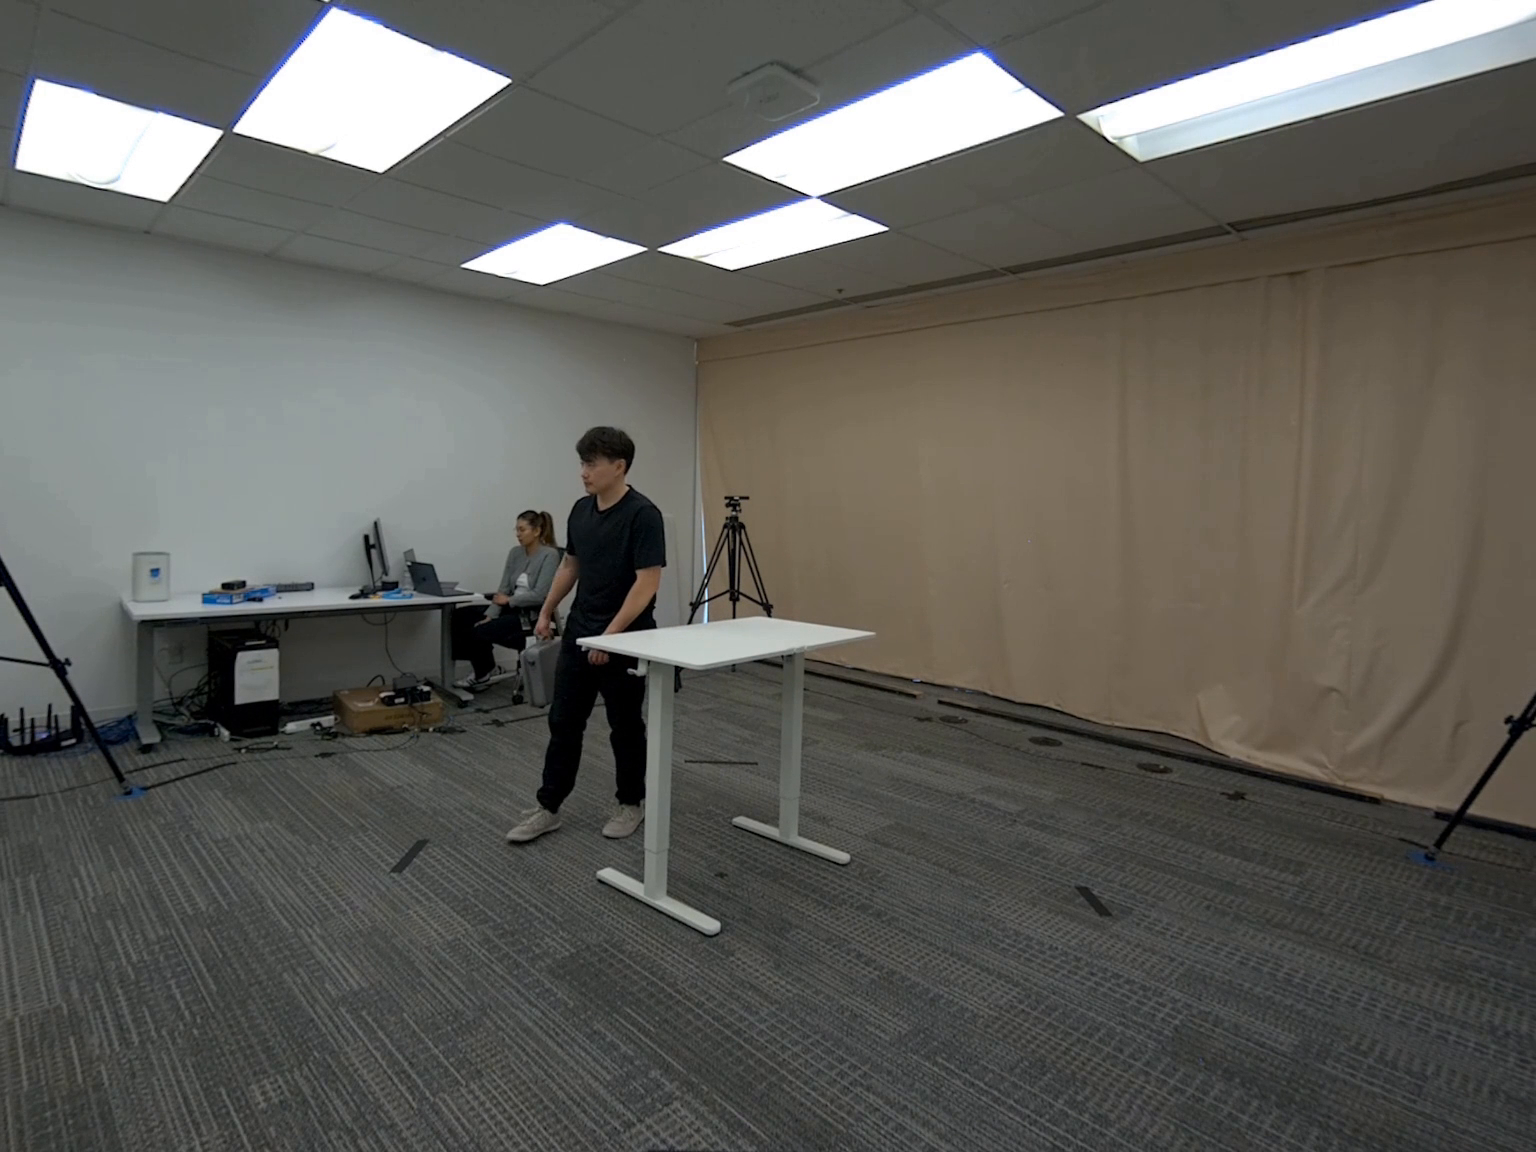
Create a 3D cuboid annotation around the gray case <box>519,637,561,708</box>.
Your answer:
[{"bbox_3d":[-0.952,0.401,3.643,0.106,0.259,0.255,-3,10,21],"label":"gray case"}]
